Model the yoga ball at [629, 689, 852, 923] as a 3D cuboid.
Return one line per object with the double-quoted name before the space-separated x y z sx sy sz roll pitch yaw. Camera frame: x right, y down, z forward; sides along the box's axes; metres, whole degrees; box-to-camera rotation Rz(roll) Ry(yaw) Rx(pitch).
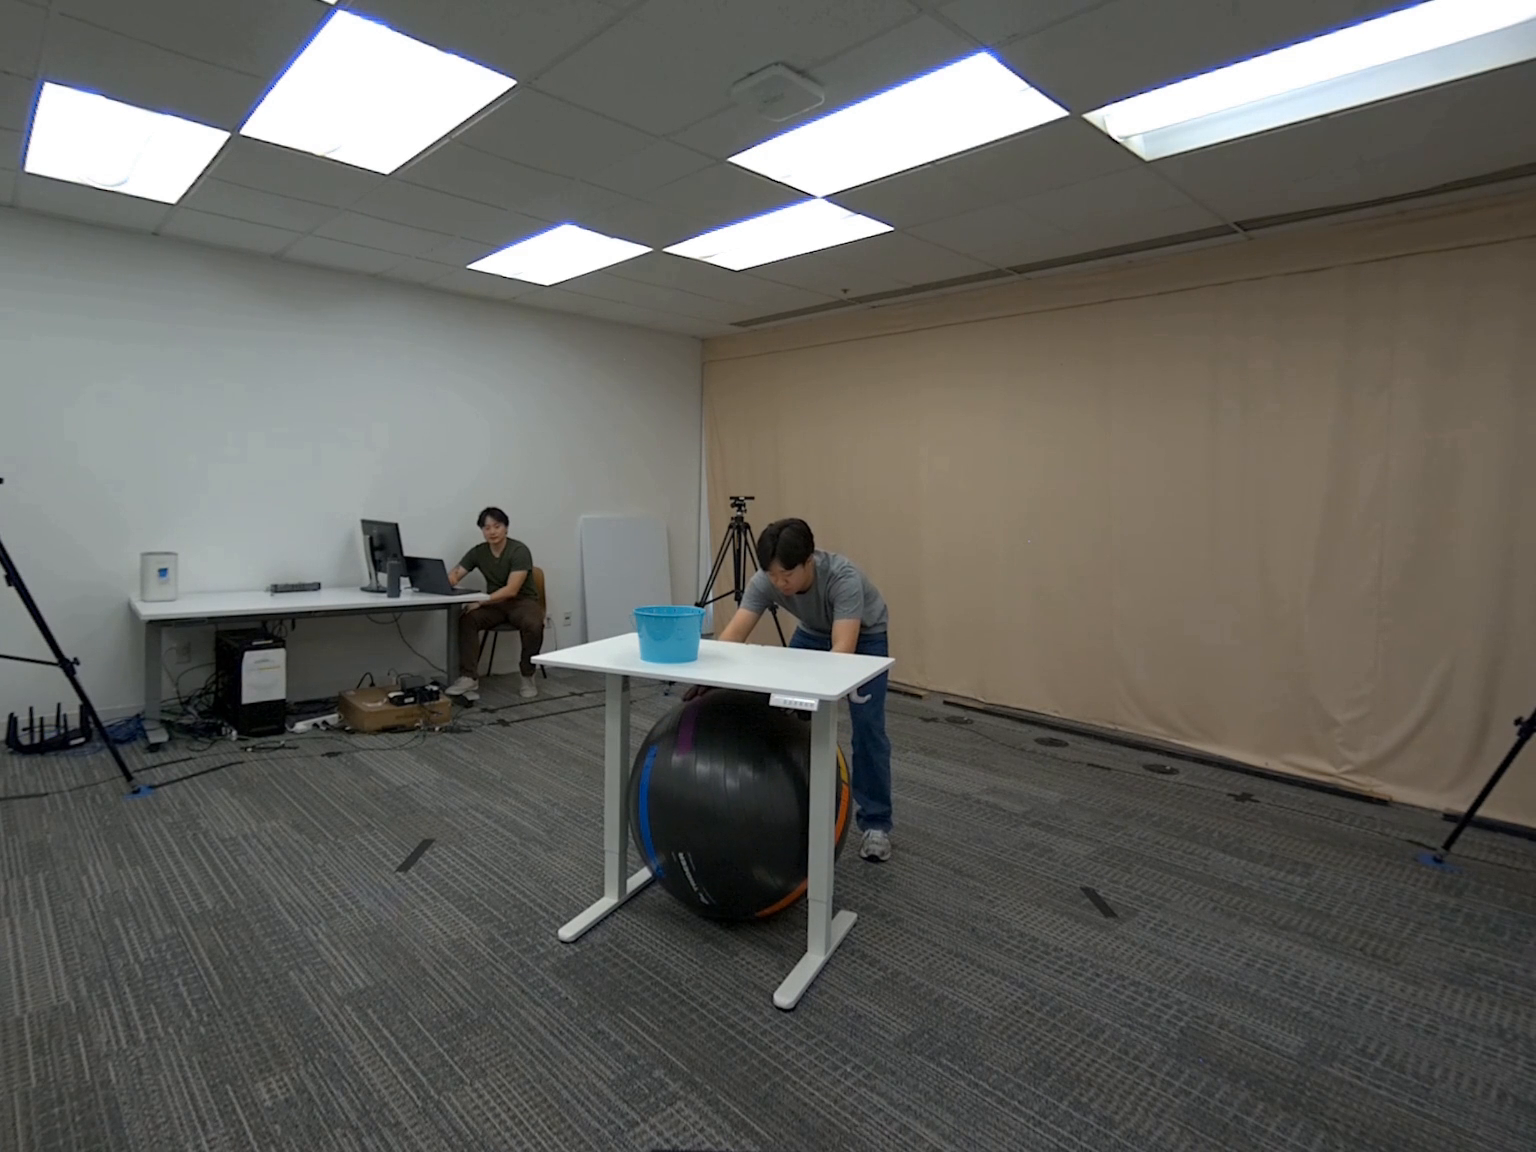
"yoga ball" -0.098 0.756 2.860 0.757 0.756 0.761 1 4 -1
